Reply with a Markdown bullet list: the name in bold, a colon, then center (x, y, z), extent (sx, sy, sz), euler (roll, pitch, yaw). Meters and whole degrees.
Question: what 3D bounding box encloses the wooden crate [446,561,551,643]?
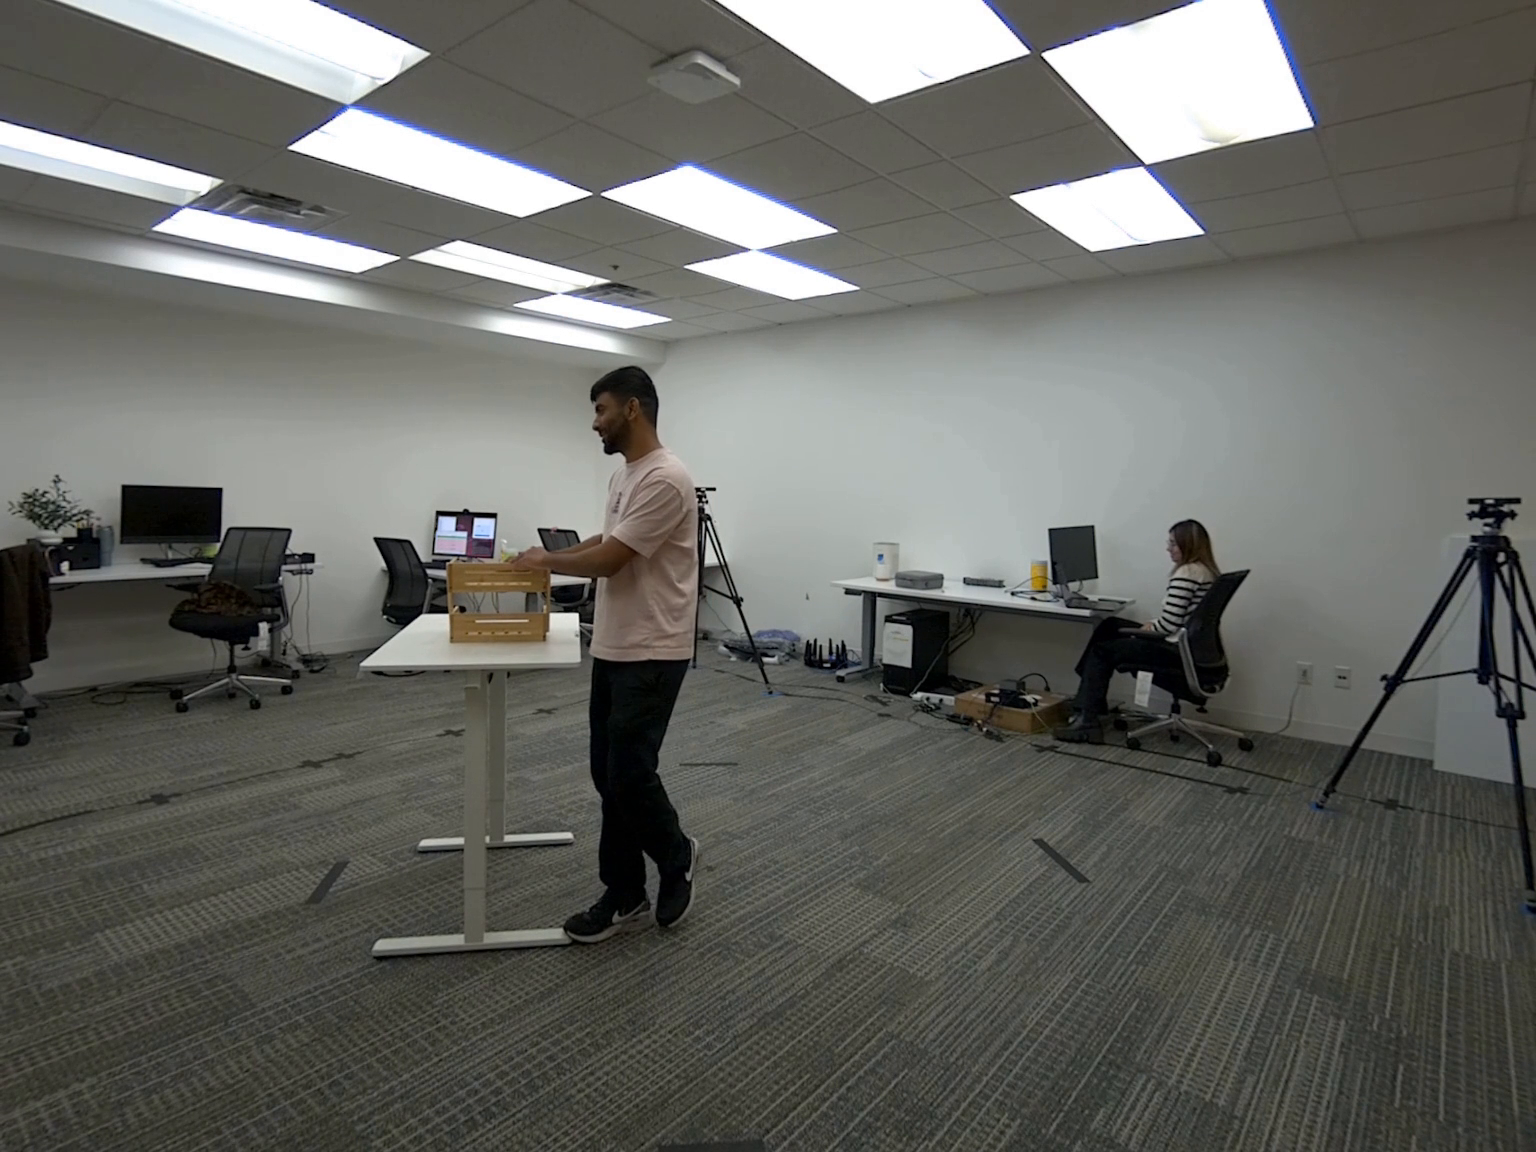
- **wooden crate**: center (-0.914, 0.071, 2.828), extent (0.320, 0.272, 0.308), euler (0, 6, -13)
